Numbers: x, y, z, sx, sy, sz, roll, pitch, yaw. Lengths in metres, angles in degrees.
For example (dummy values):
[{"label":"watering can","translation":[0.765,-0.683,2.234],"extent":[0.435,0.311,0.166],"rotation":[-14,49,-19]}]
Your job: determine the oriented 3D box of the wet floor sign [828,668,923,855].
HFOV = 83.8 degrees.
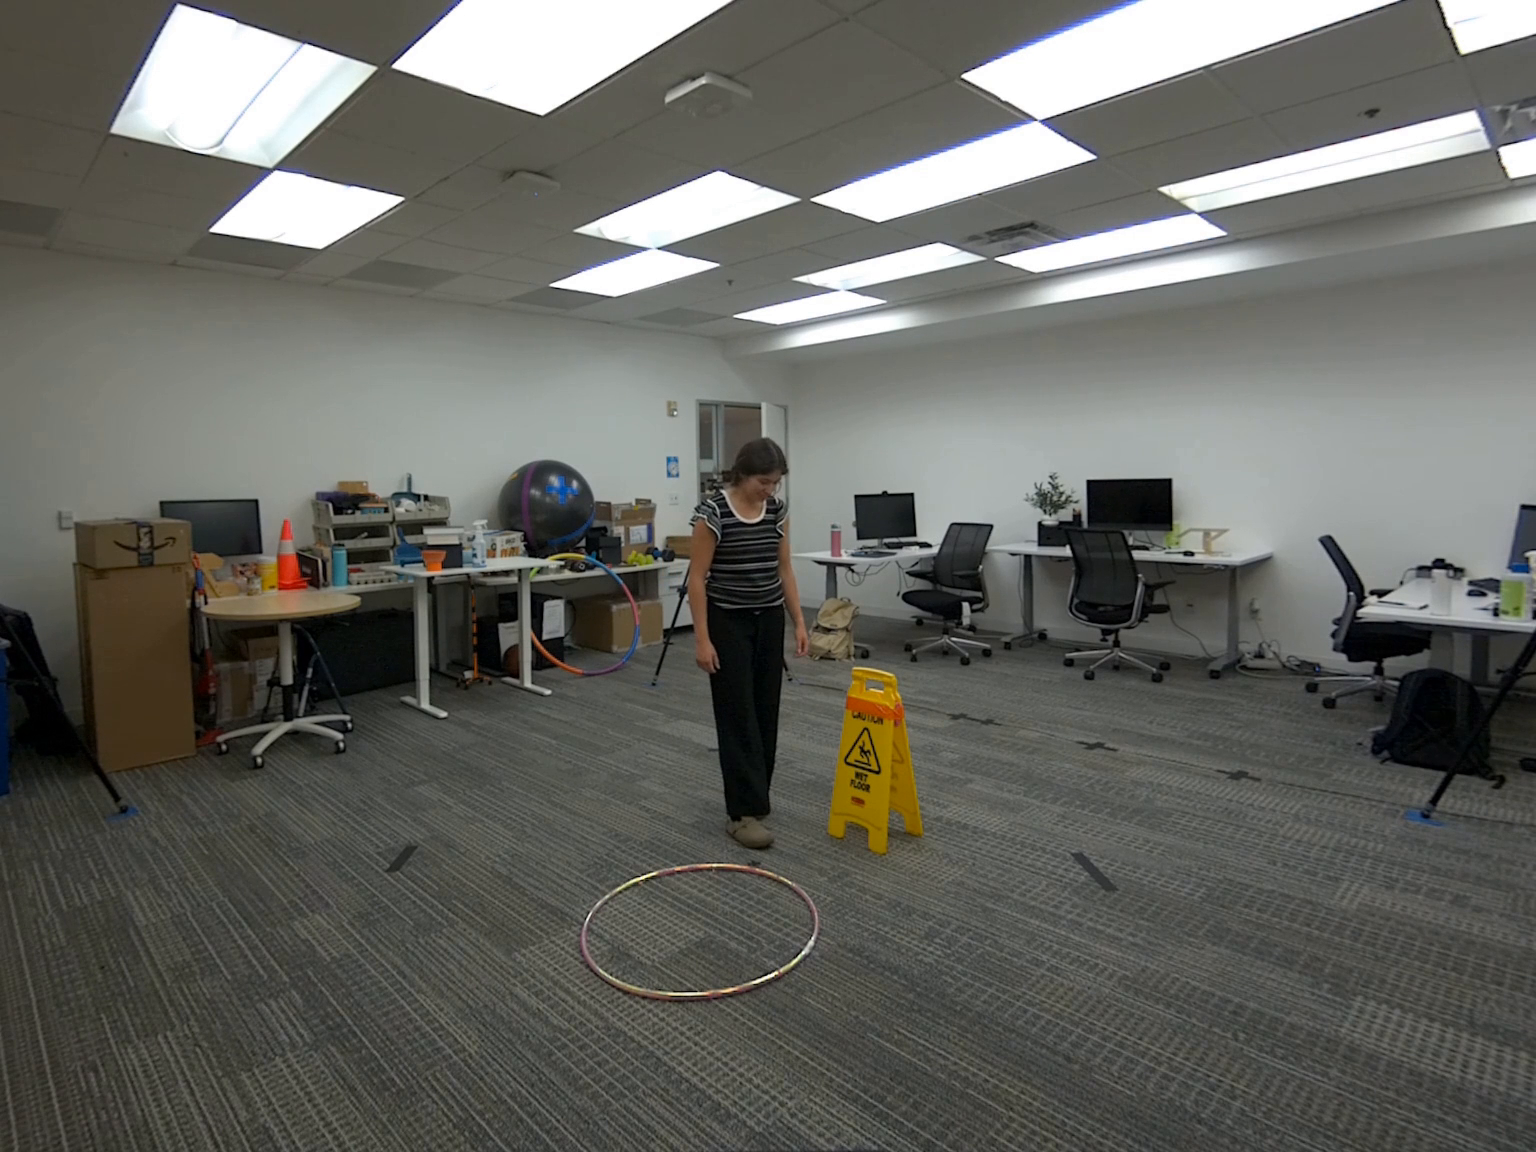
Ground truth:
[{"label":"wet floor sign","translation":[0.416,0.688,3.316],"extent":[0.282,0.644,0.291],"rotation":[-6,6,-43]}]
